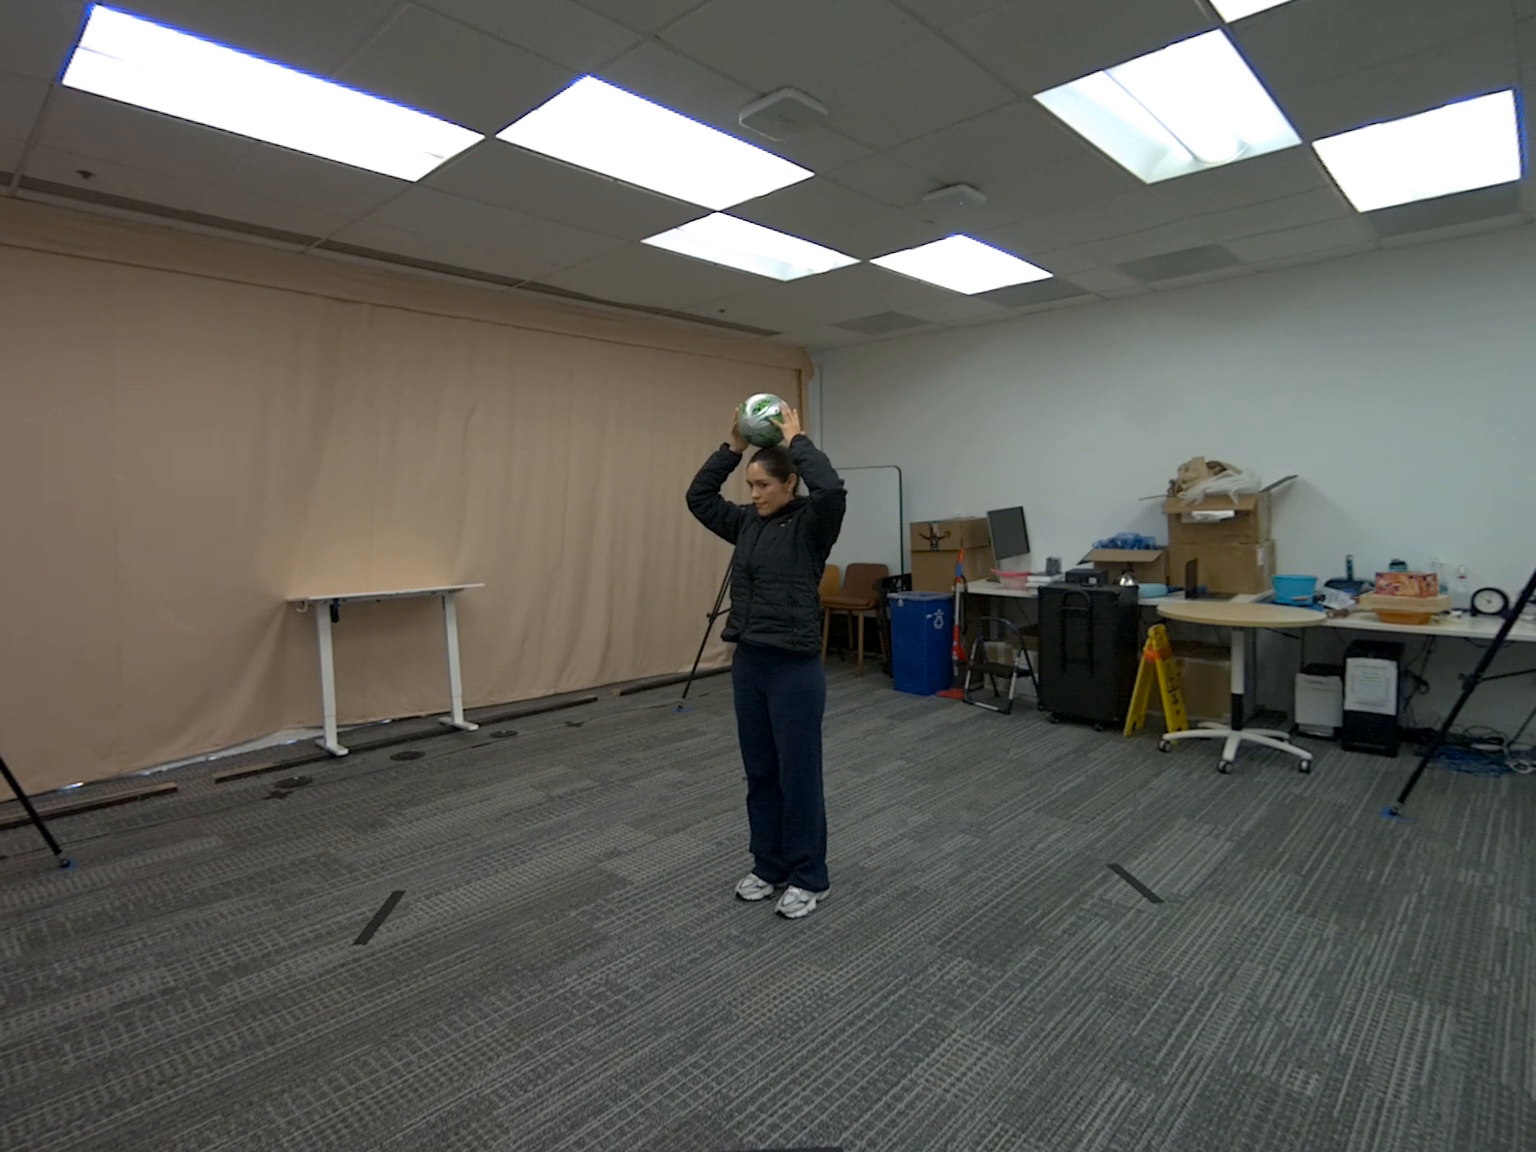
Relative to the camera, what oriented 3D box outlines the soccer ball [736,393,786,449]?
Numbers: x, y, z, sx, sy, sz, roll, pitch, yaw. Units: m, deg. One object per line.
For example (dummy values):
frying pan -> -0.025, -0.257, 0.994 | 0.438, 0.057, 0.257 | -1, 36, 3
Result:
soccer ball -> -0.010, -0.534, 2.915 | 0.187, 0.187, 0.188 | -1, 4, -2
